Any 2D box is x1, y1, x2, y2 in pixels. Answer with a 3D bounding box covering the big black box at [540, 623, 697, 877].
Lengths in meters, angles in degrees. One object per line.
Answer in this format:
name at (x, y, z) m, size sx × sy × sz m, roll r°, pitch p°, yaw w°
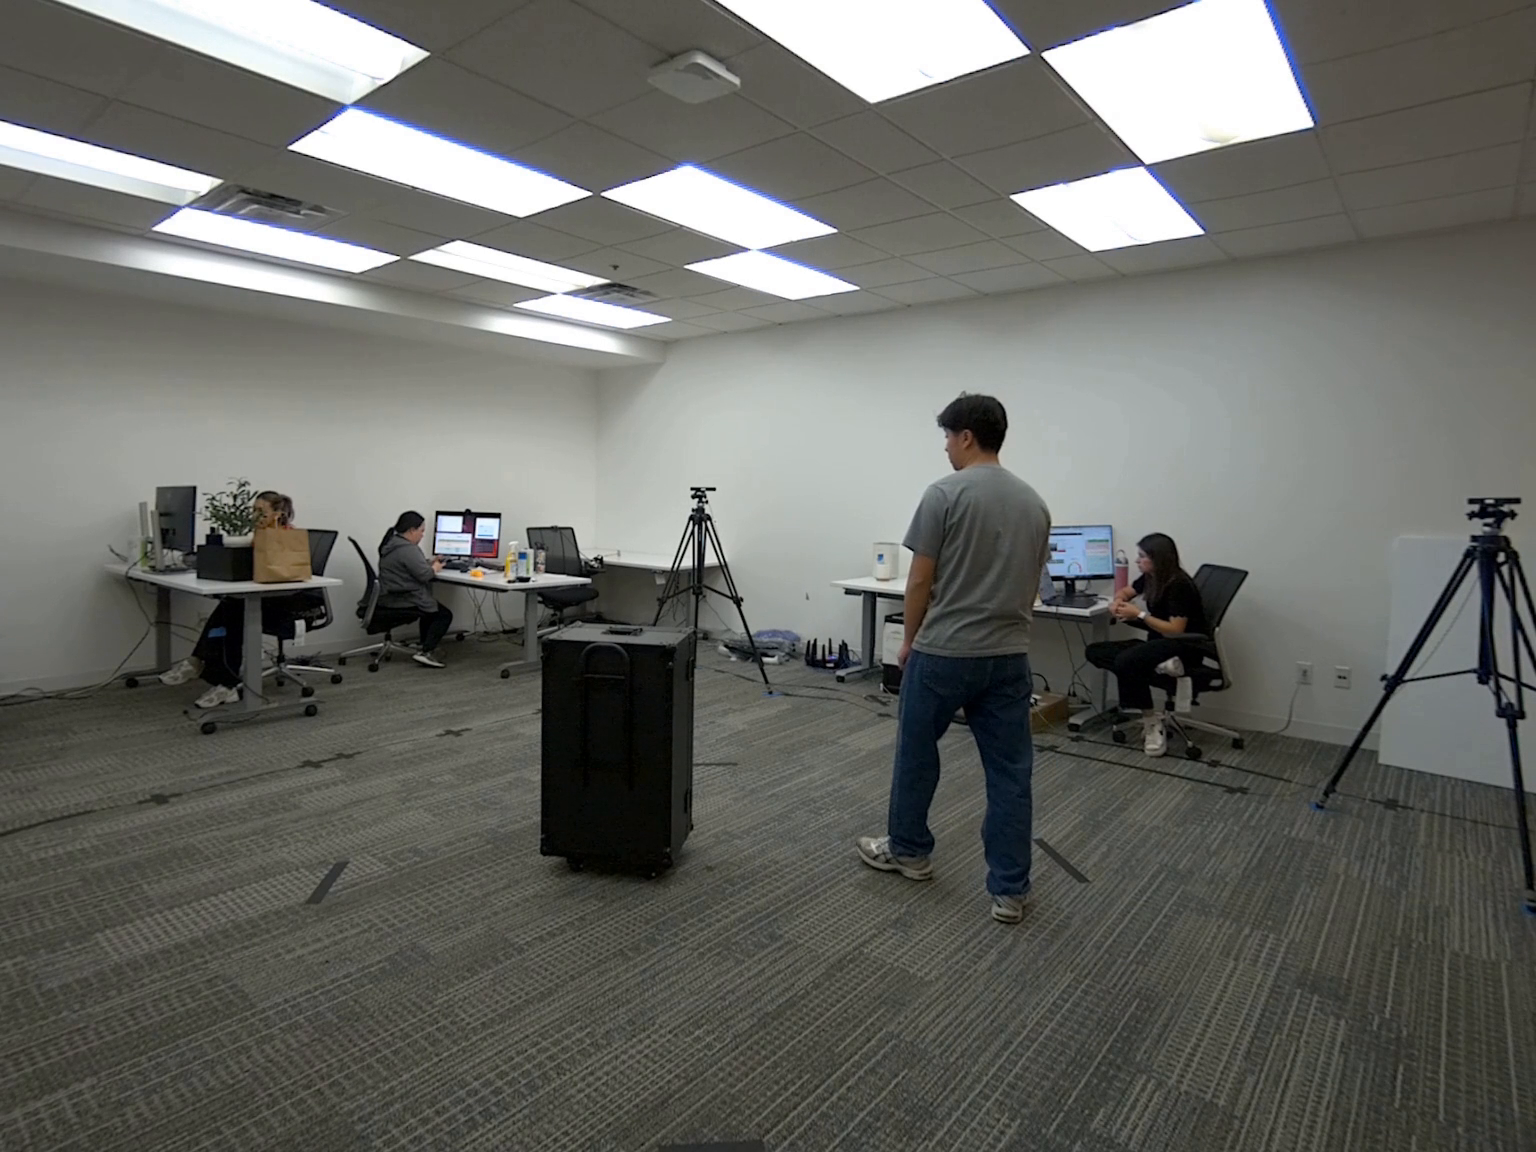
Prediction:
big black box at (-0.555, 0.634, 3.134) m, size 0.527 × 0.858 × 0.393 m, roll 2°, pitch 4°, yaw 10°
